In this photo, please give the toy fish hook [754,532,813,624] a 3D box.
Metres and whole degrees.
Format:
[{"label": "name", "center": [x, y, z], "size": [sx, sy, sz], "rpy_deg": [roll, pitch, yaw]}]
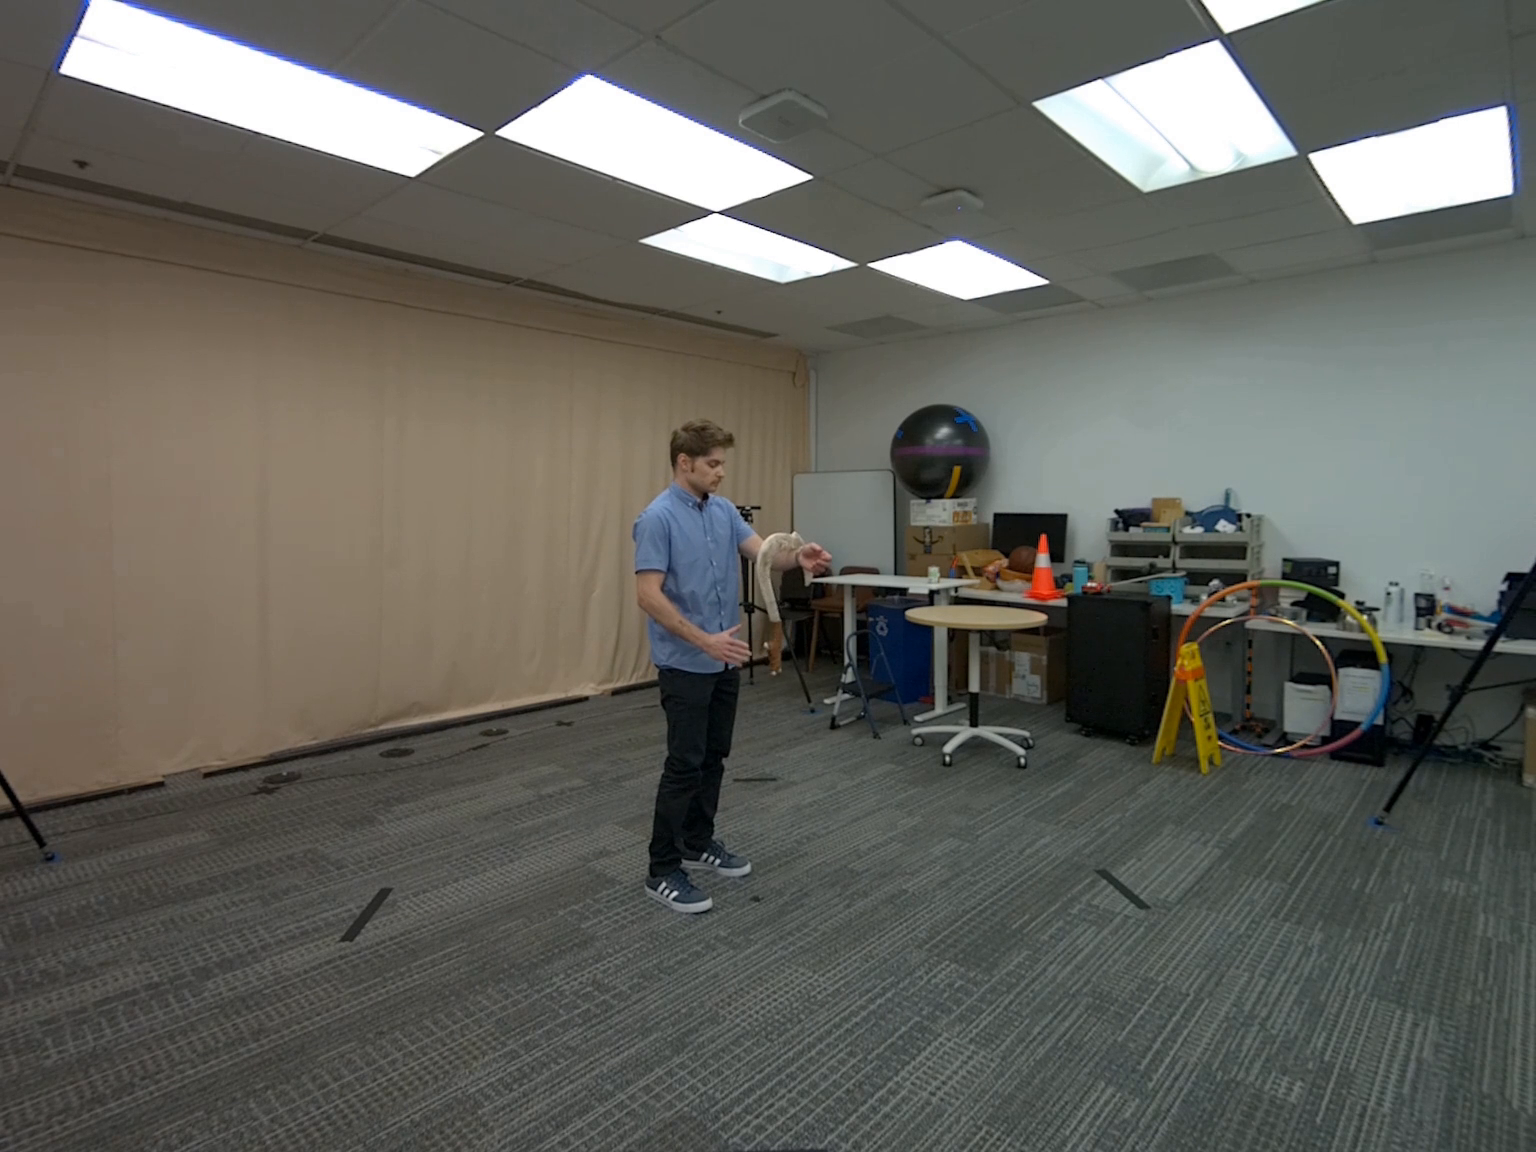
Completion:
[{"label": "toy fish hook", "center": [0.077, 0.107, 2.990], "size": [0.221, 0.505, 0.049], "rpy_deg": [-2, 5, -16]}]
